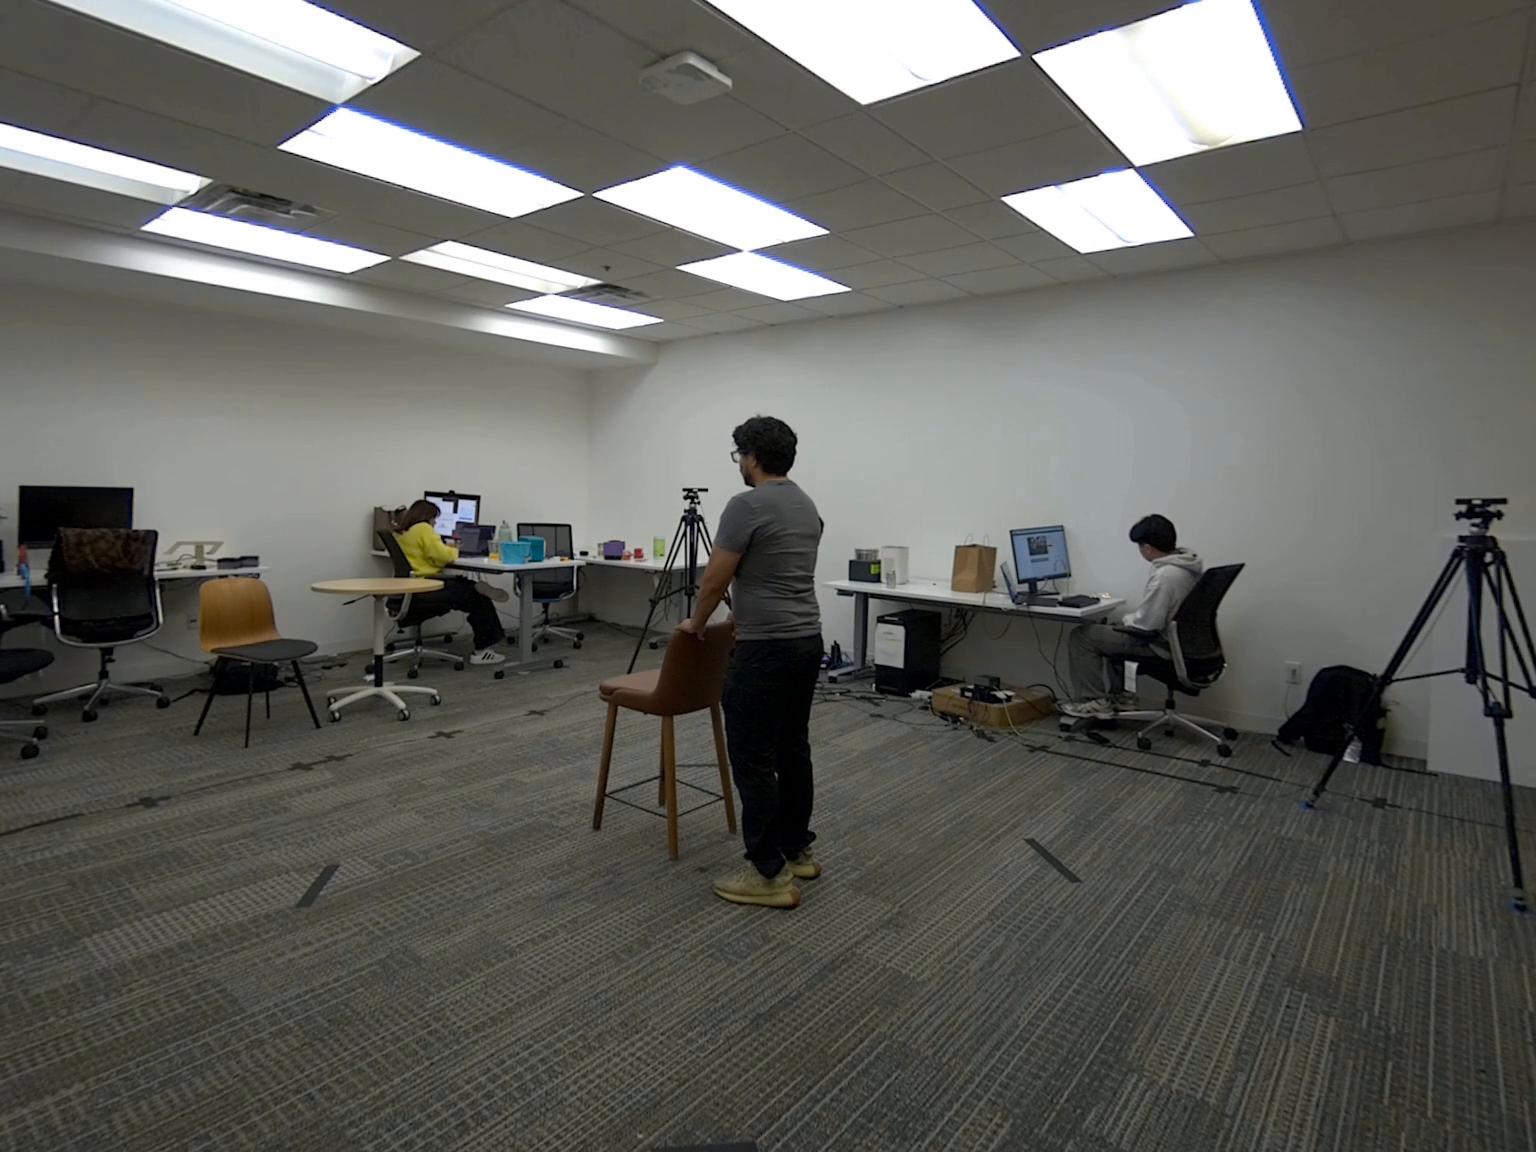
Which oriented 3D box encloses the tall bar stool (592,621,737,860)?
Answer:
[{"bbox_3d":[-0.411,0.597,3.437,0.484,0.886,0.443,6,5,39],"label":"tall bar stool"}]
